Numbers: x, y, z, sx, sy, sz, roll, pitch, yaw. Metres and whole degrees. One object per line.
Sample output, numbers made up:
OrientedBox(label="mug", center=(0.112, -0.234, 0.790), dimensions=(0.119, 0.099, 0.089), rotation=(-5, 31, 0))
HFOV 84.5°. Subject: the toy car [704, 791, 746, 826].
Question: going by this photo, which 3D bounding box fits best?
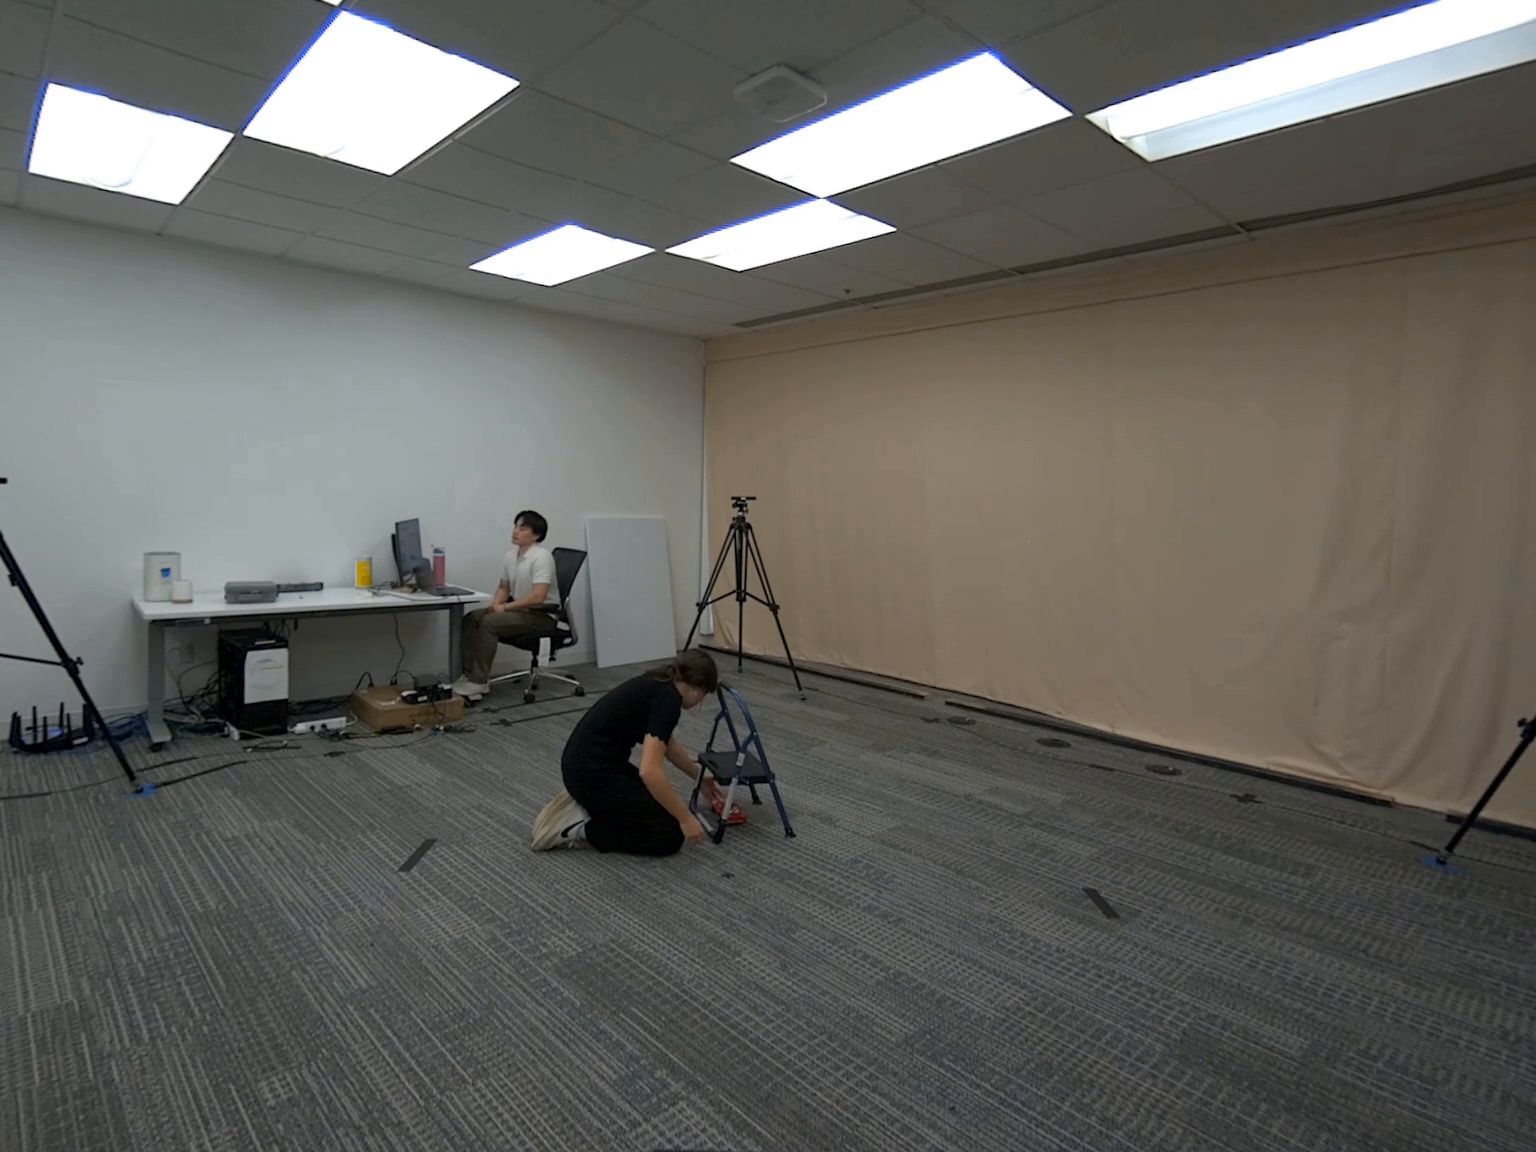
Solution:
OrientedBox(label="toy car", center=(-0.174, 1.036, 3.673), dimensions=(0.129, 0.083, 0.256), rotation=(2, -6, -17))
